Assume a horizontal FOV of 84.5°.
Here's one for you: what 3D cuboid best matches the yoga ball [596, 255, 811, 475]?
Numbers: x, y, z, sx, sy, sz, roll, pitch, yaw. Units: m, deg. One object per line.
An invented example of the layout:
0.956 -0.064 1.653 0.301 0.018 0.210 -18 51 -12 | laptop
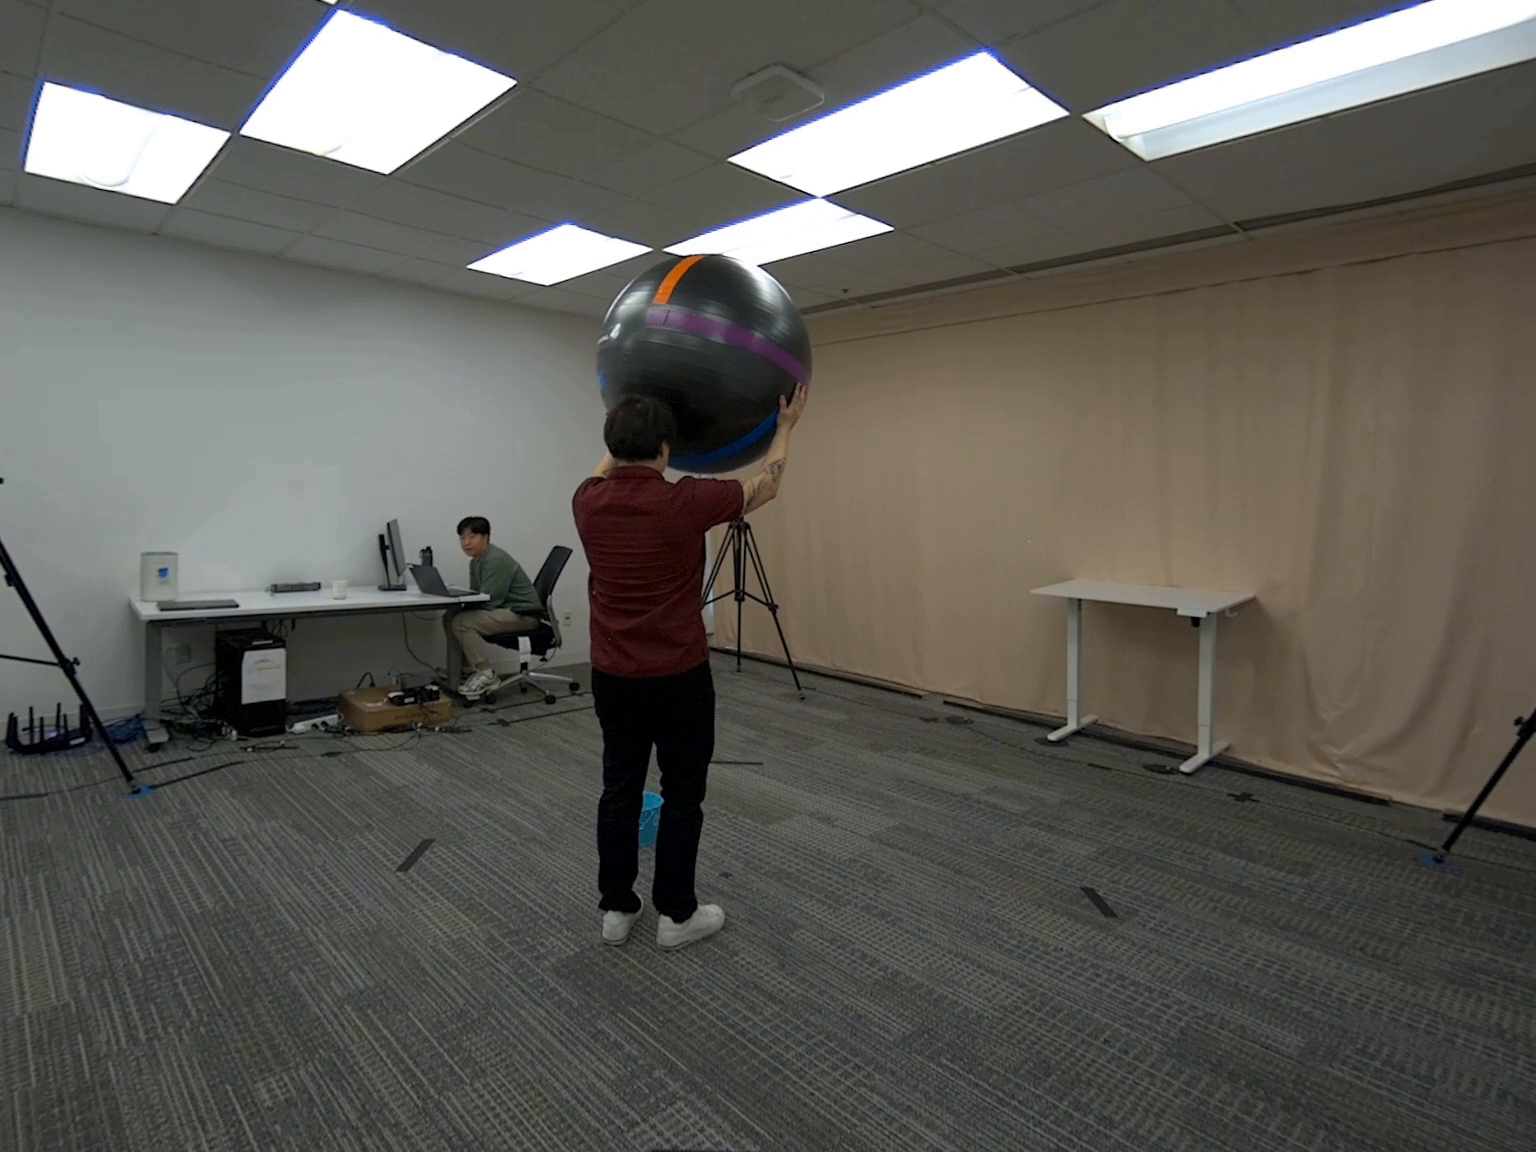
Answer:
-0.226 -0.735 2.973 0.757 0.756 0.761 1 4 -1 | yoga ball
